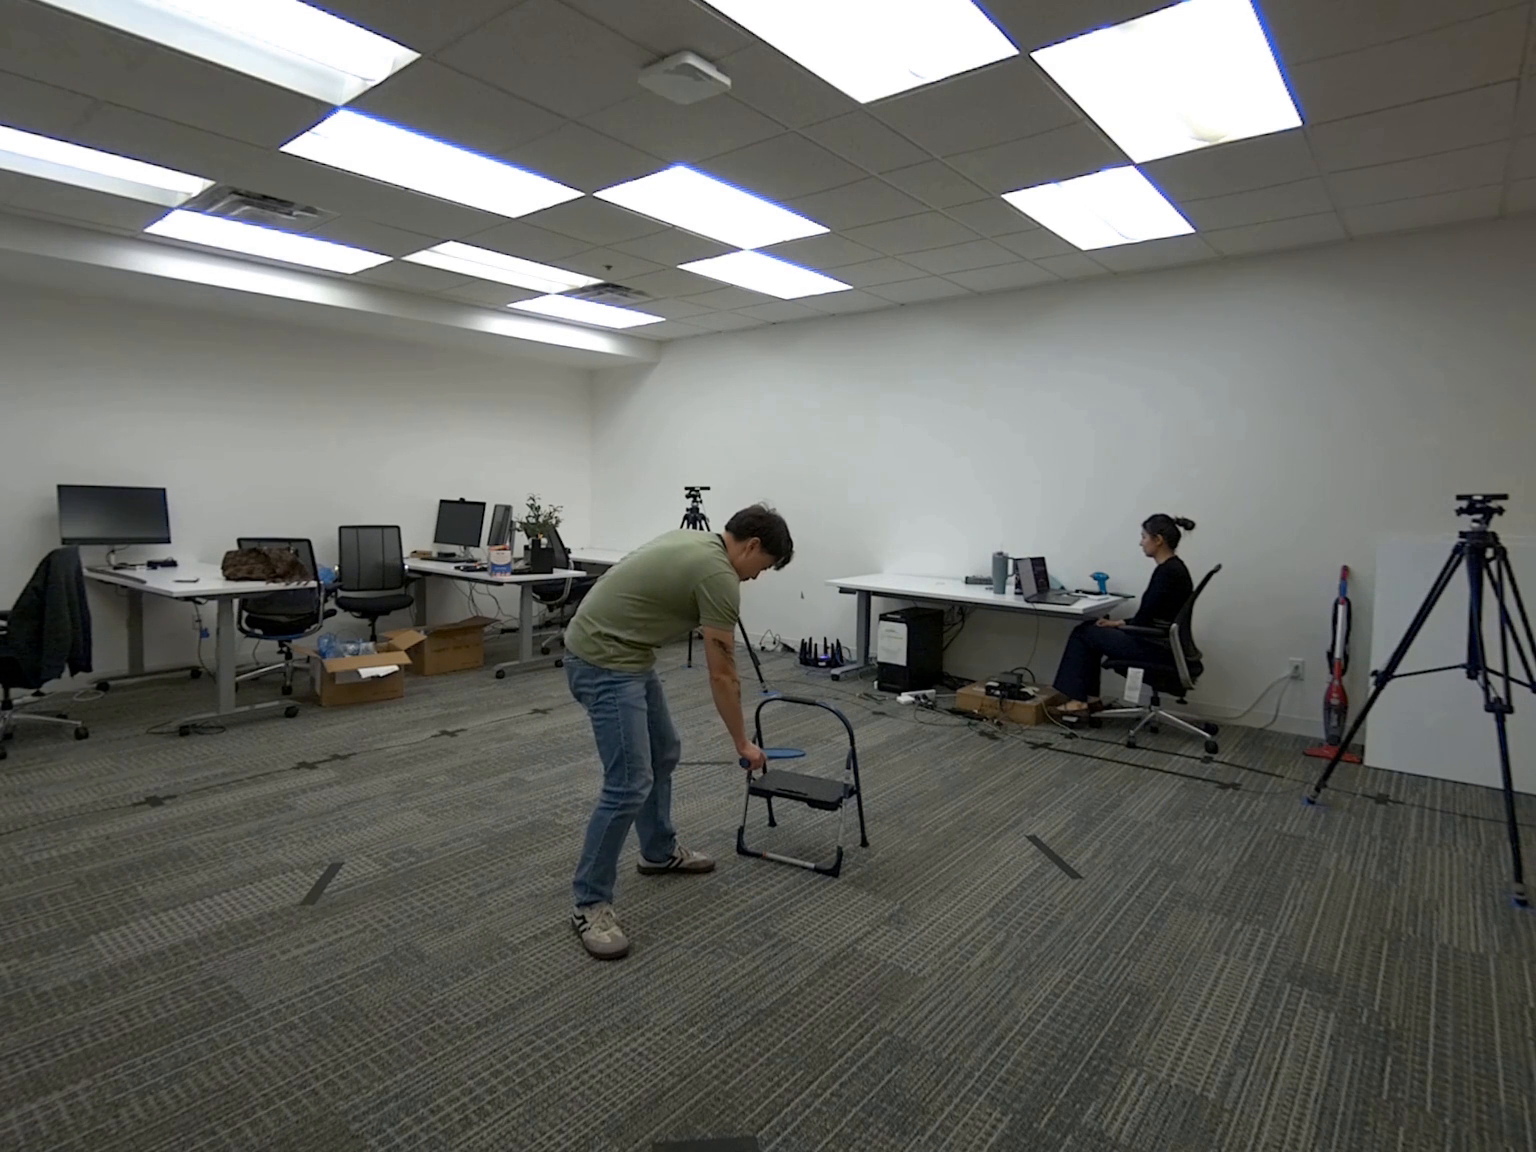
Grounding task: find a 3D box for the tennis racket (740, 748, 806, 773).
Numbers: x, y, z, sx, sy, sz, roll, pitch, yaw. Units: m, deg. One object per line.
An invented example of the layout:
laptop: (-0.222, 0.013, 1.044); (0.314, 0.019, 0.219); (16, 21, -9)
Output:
tennis racket: (-0.008, 0.622, 2.949); (0.218, 0.032, 0.421); (-1, -6, 21)
